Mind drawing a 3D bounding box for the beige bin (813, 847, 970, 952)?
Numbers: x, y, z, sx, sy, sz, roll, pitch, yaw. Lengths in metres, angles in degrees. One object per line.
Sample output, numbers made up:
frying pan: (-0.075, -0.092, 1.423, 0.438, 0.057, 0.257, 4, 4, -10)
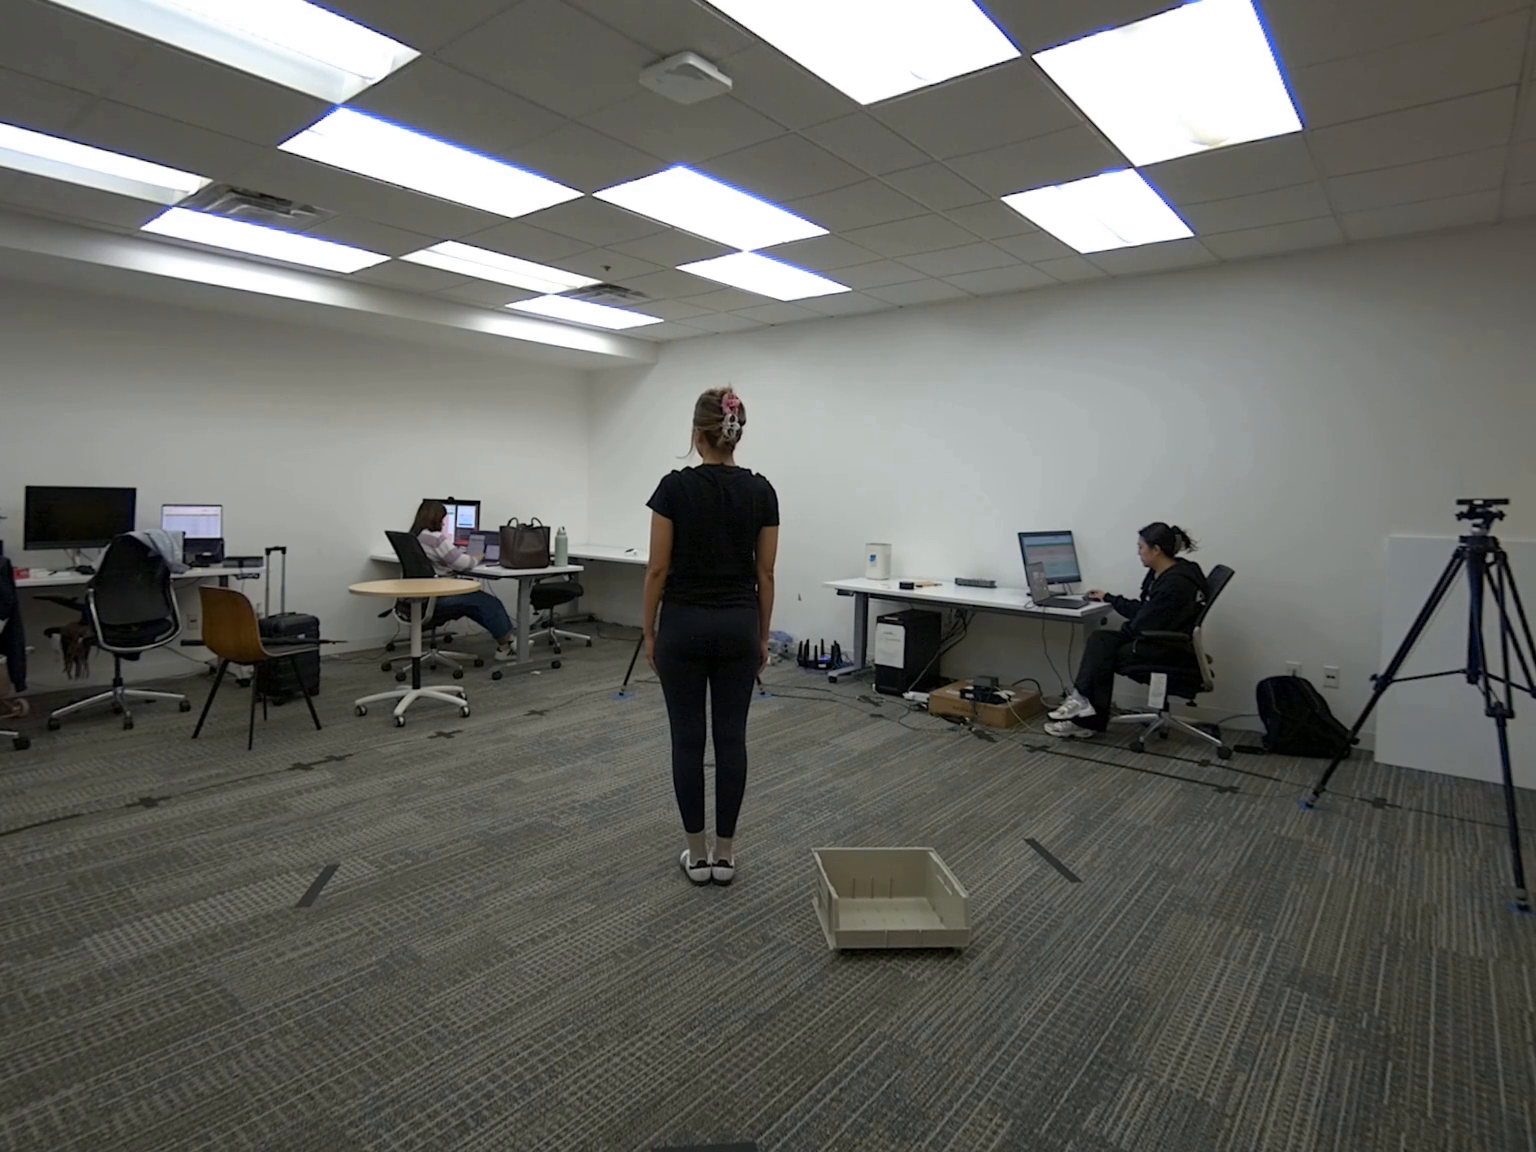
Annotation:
beige bin: (0.375, 1.032, 2.716, 0.420, 0.188, 0.381, 1, 4, -6)
